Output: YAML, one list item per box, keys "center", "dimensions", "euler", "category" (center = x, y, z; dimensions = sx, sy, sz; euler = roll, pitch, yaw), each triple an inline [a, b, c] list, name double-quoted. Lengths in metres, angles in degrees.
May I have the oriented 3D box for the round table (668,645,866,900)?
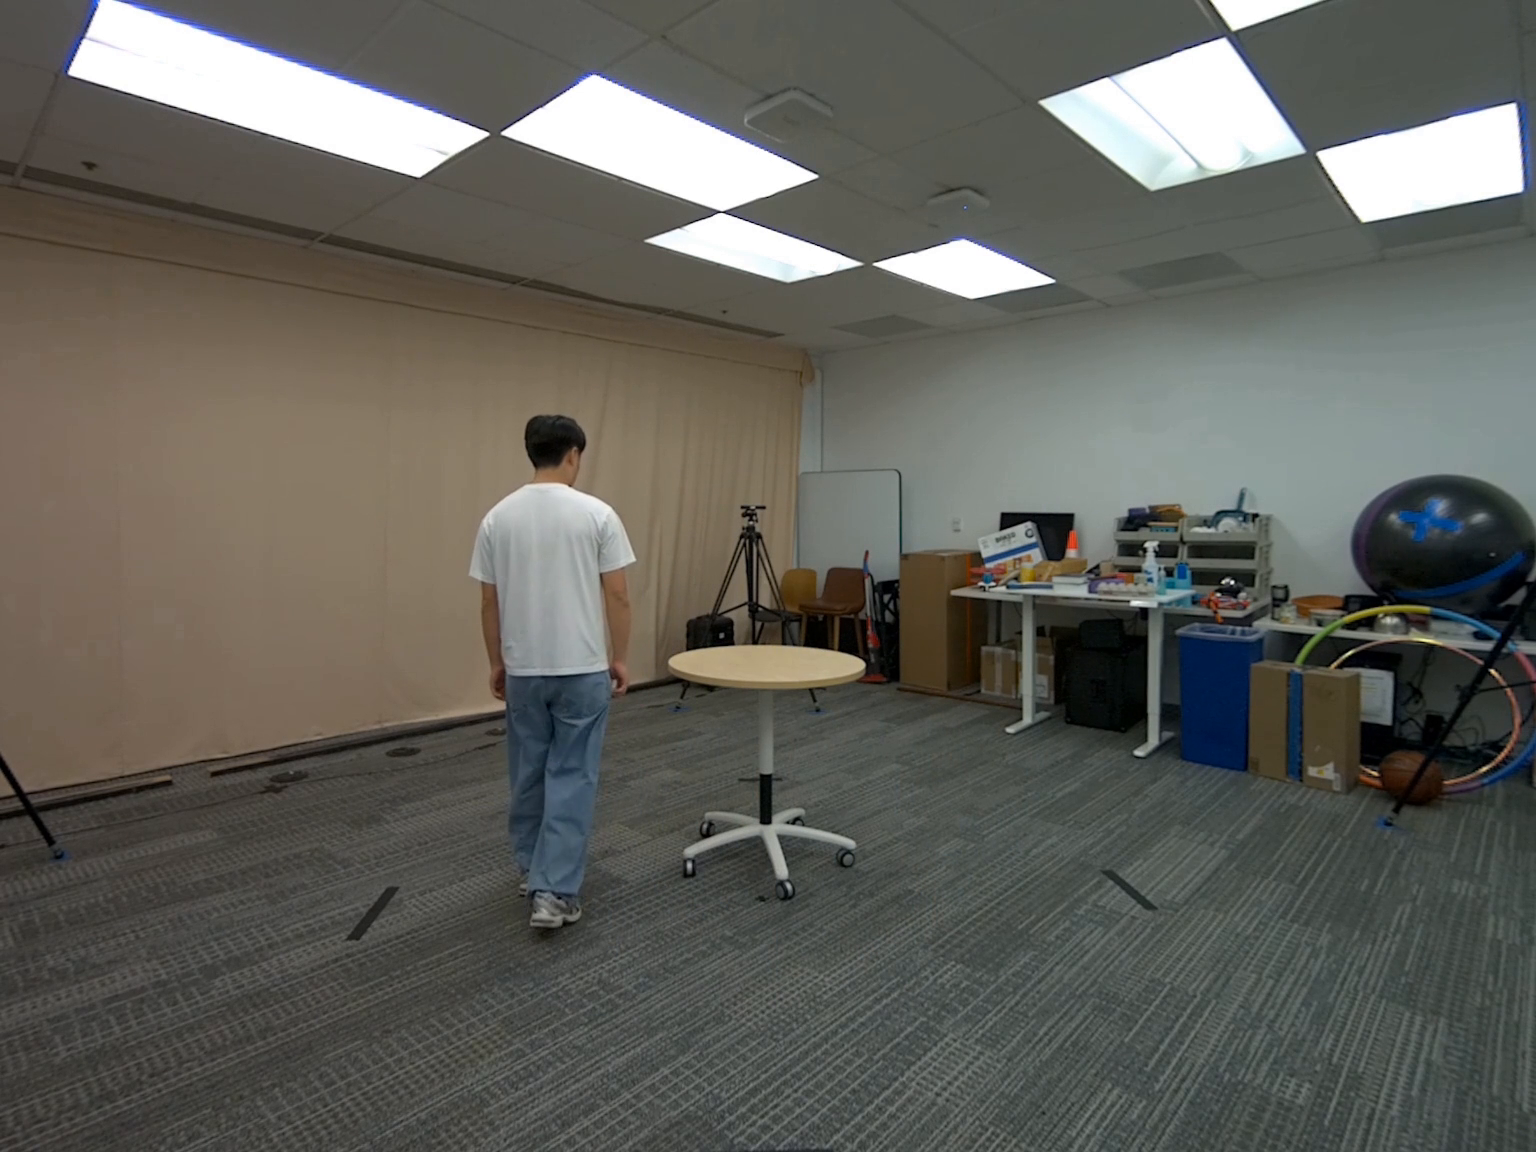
- center: [-0.002, 0.728, 3.310]
  dimensions: [0.763, 0.792, 0.766]
  euler: [0, 3, -2]
  category: "round table"
